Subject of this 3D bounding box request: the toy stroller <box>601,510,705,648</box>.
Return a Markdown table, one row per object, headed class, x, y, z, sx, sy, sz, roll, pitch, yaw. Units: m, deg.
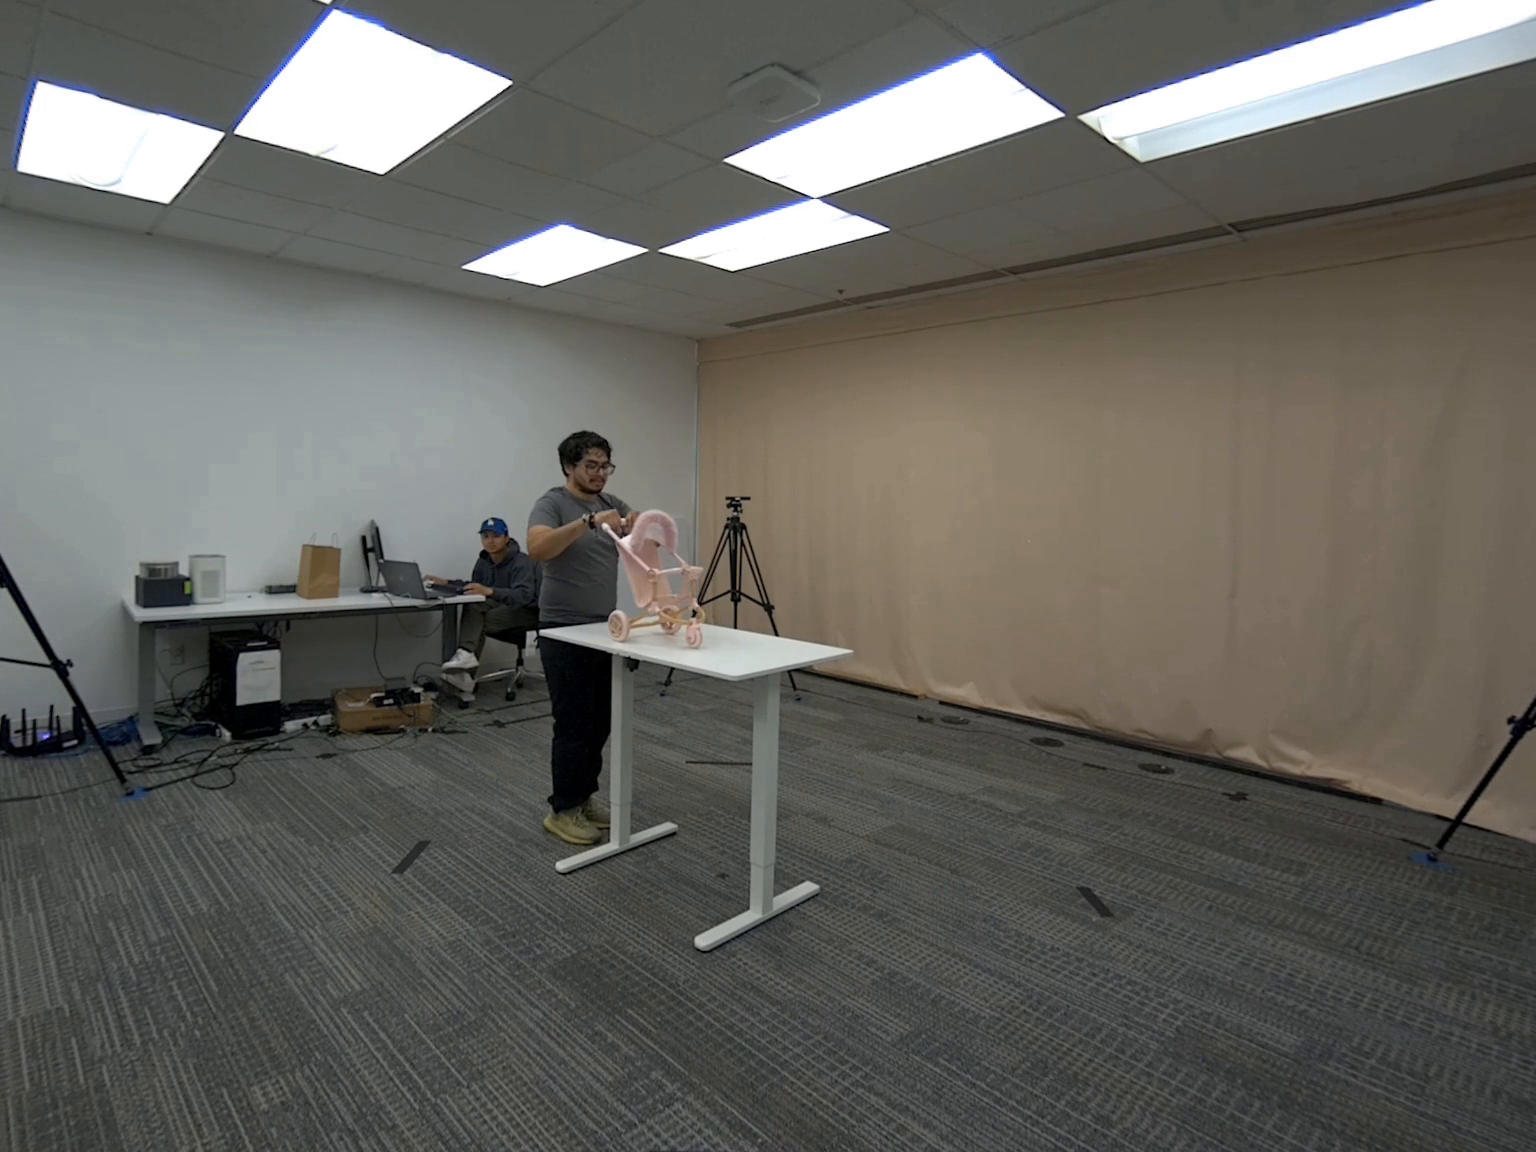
| class | x | y | z | sx | sy | sz | roll | pitch | yaw |
| --- | --- | --- | --- | --- | --- | --- | --- | --- | --- |
| toy stroller | -0.398 | 0.006 | 2.971 | 0.275 | 0.539 | 0.347 | -1 | -11 | -44 |
